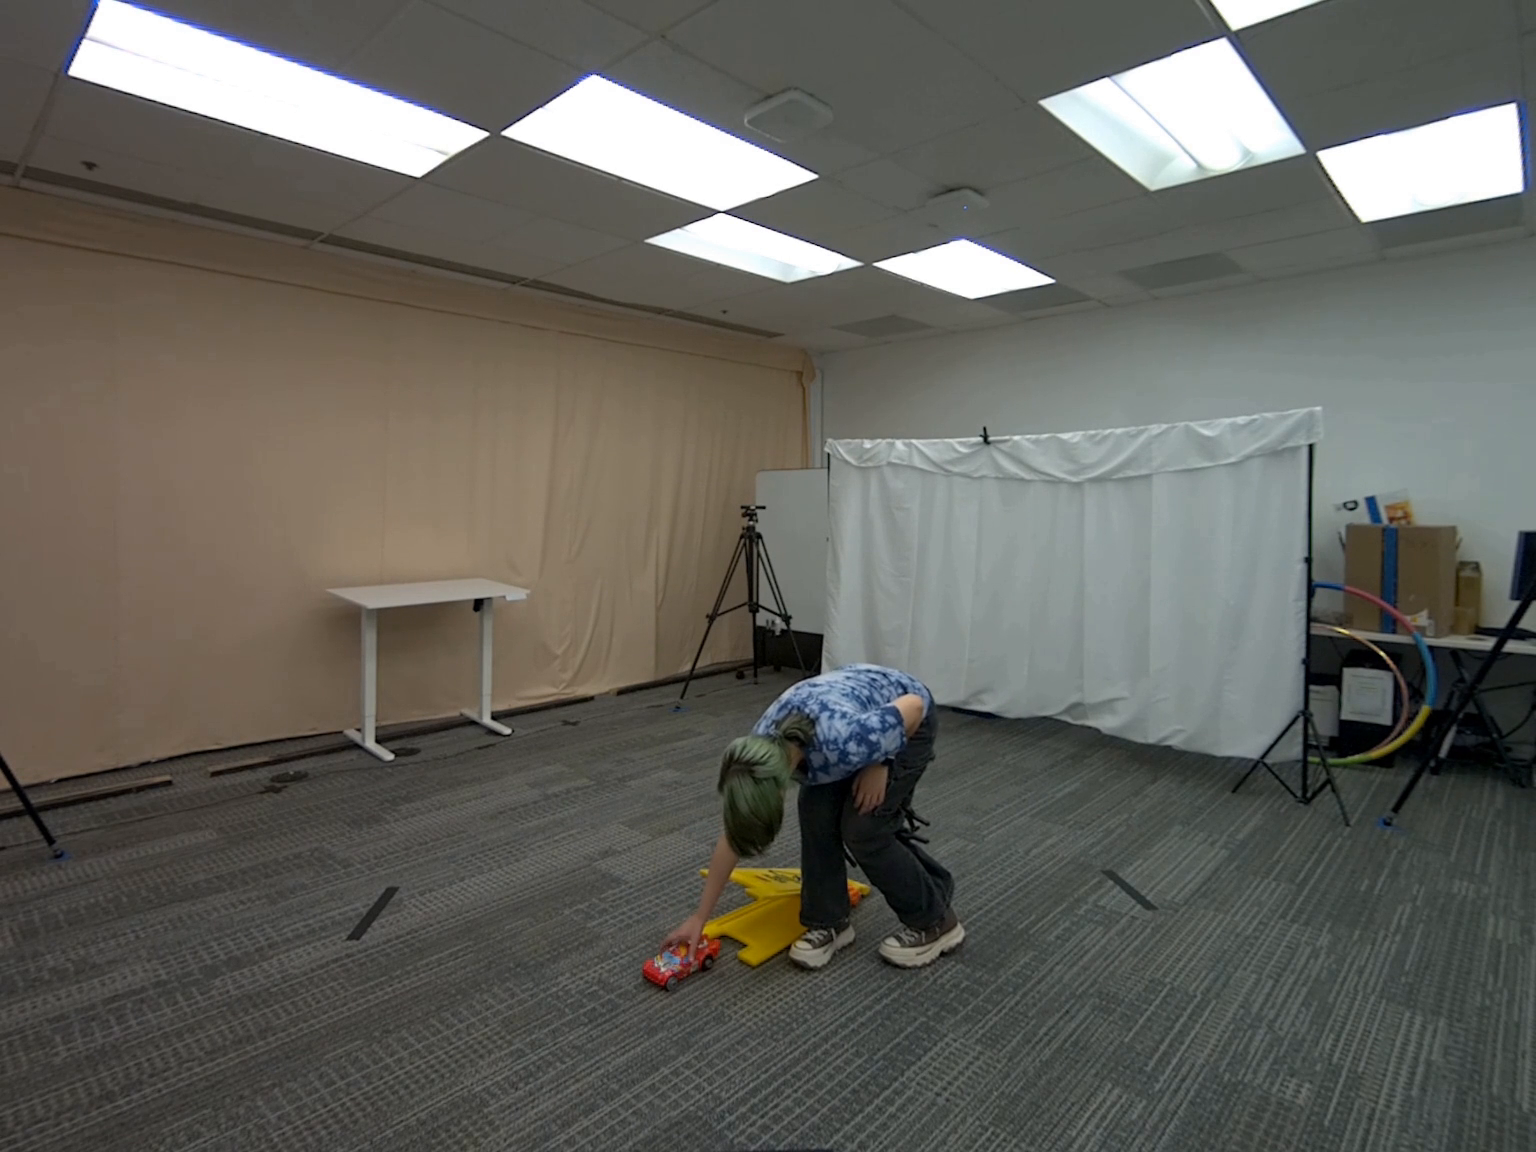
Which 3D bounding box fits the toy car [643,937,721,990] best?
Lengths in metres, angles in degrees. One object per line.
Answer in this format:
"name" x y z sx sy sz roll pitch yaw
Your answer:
"toy car" -0.249 1.158 2.523 0.248 0.082 0.134 -20 16 -42
